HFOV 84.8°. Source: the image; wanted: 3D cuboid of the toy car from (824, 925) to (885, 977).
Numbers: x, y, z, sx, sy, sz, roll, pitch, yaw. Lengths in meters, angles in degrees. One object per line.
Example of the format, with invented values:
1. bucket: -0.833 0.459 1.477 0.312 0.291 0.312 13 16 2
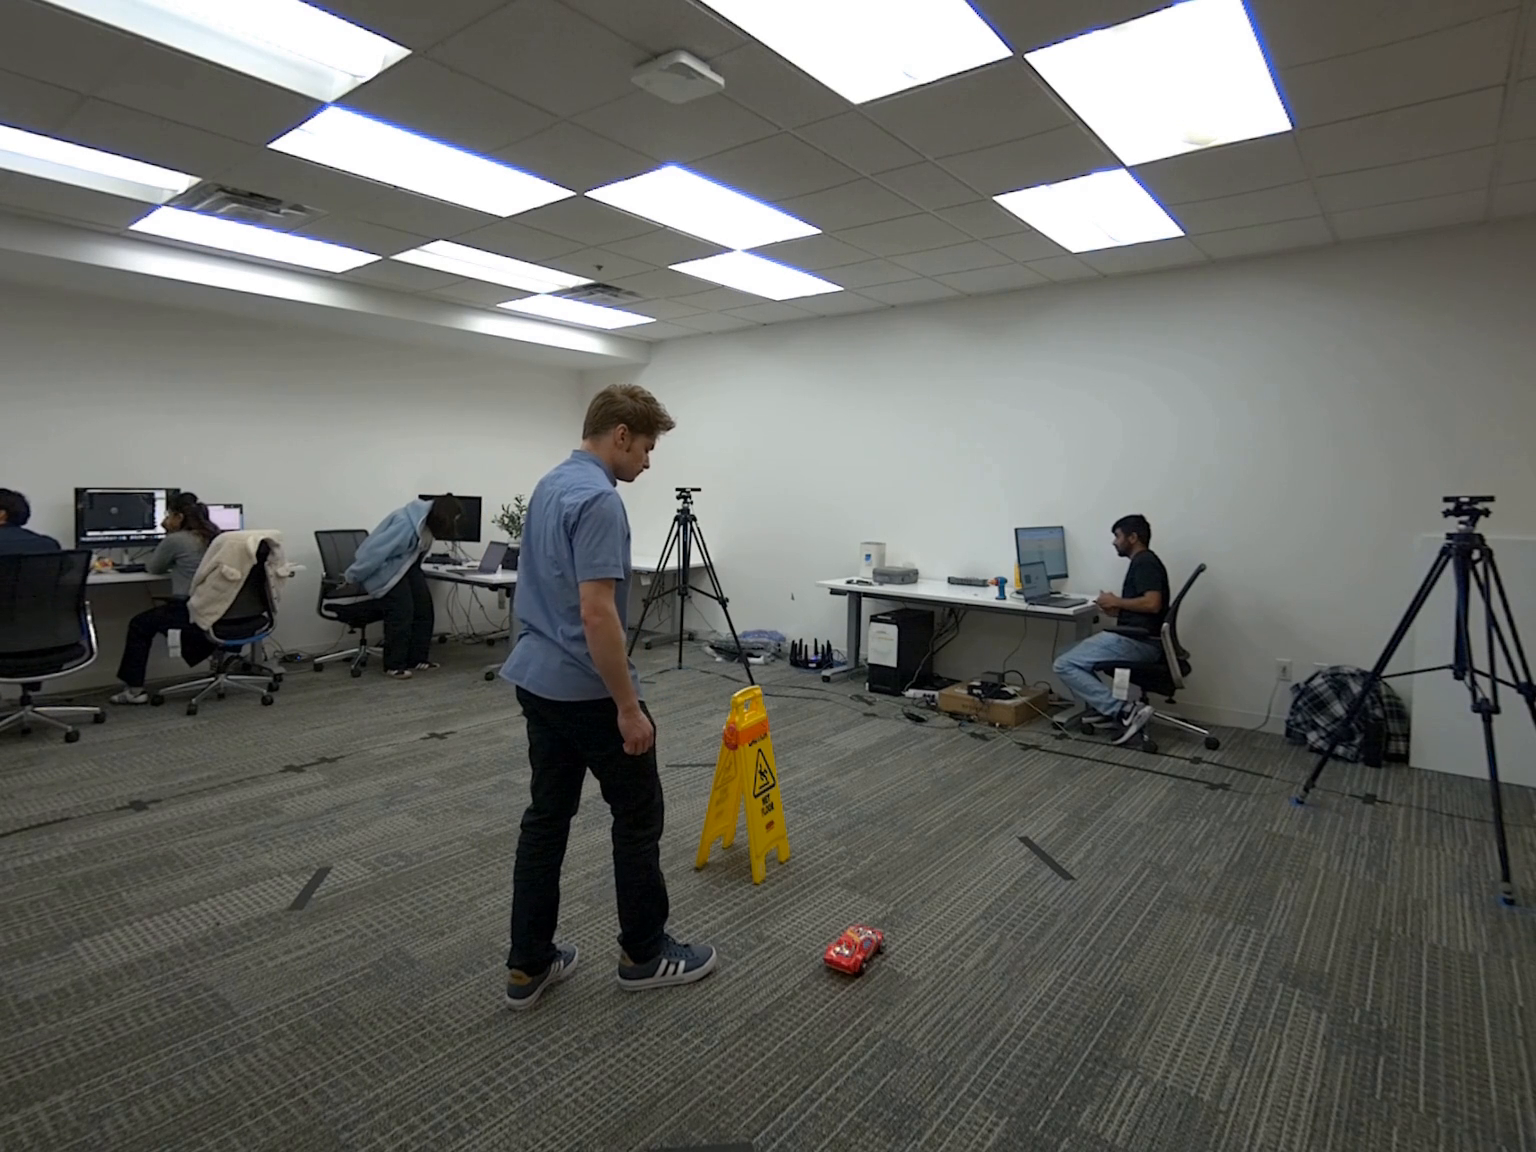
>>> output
1. toy car: 0.249 1.105 2.516 0.134 0.083 0.246 4 -5 31
